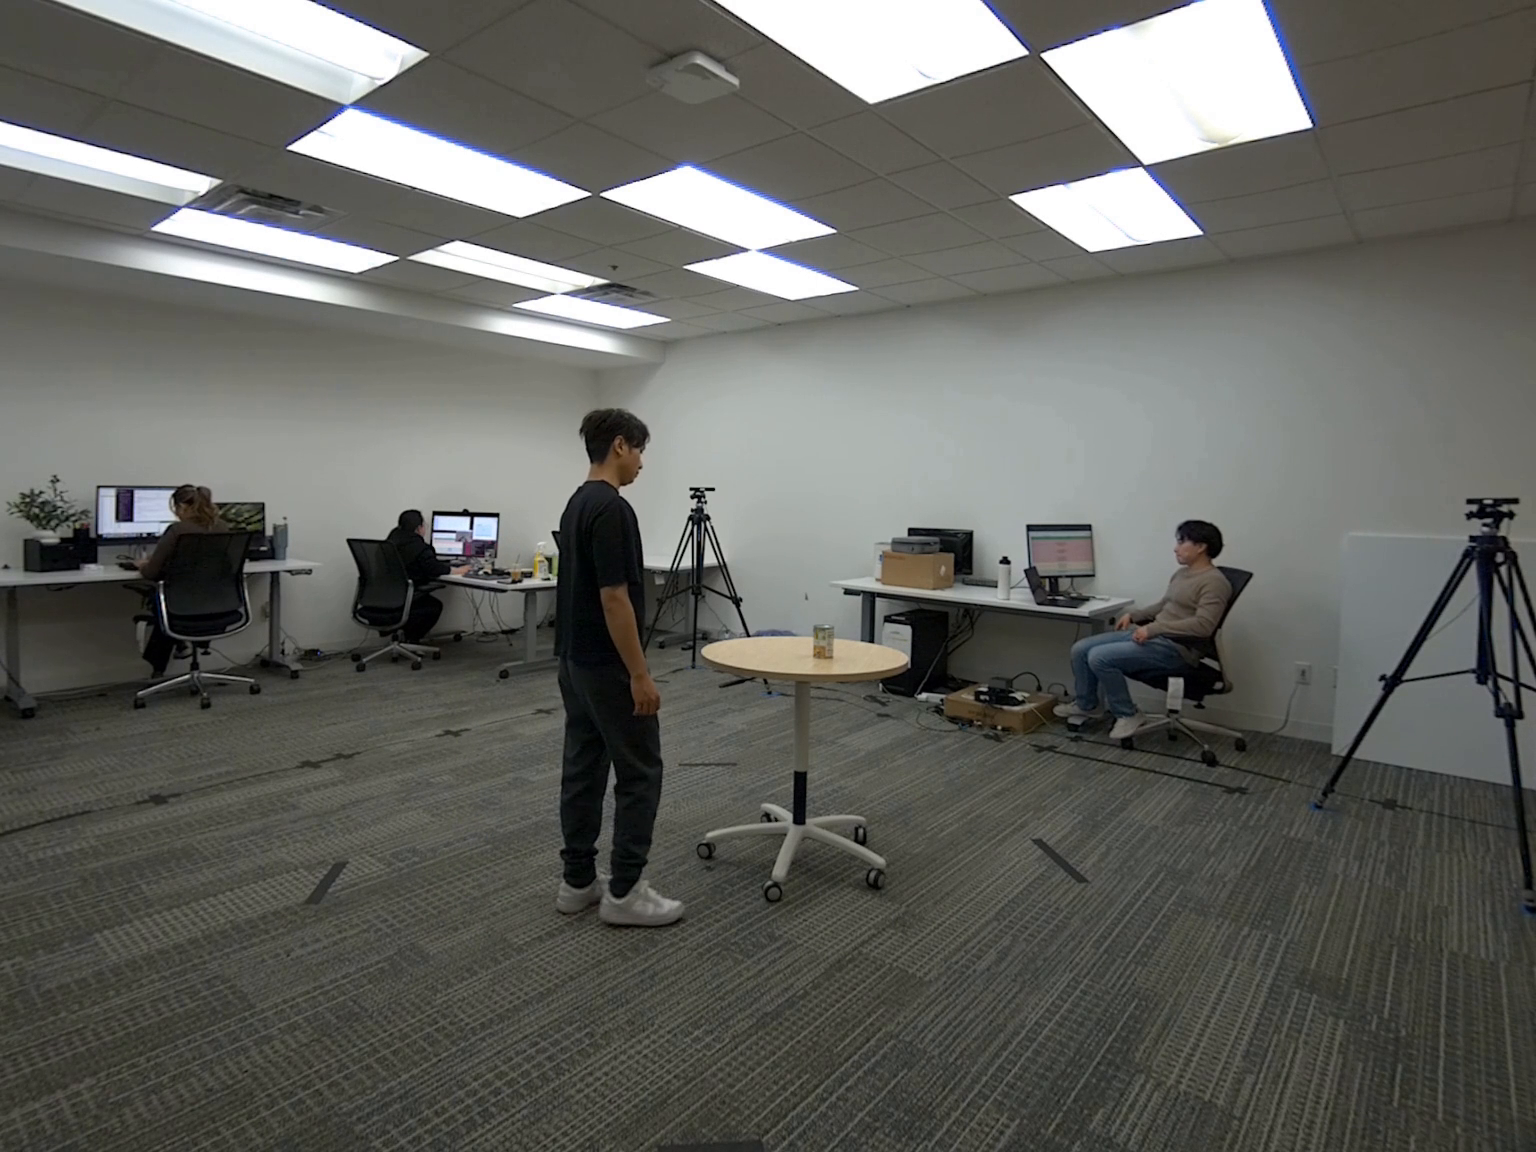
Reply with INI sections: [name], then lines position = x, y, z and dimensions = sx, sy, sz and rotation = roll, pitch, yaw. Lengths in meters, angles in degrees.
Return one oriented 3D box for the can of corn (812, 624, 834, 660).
[can of corn]
position = 0.196, 0.240, 3.091
dimensions = 0.074, 0.110, 0.075
rotation = 2, 5, -2
